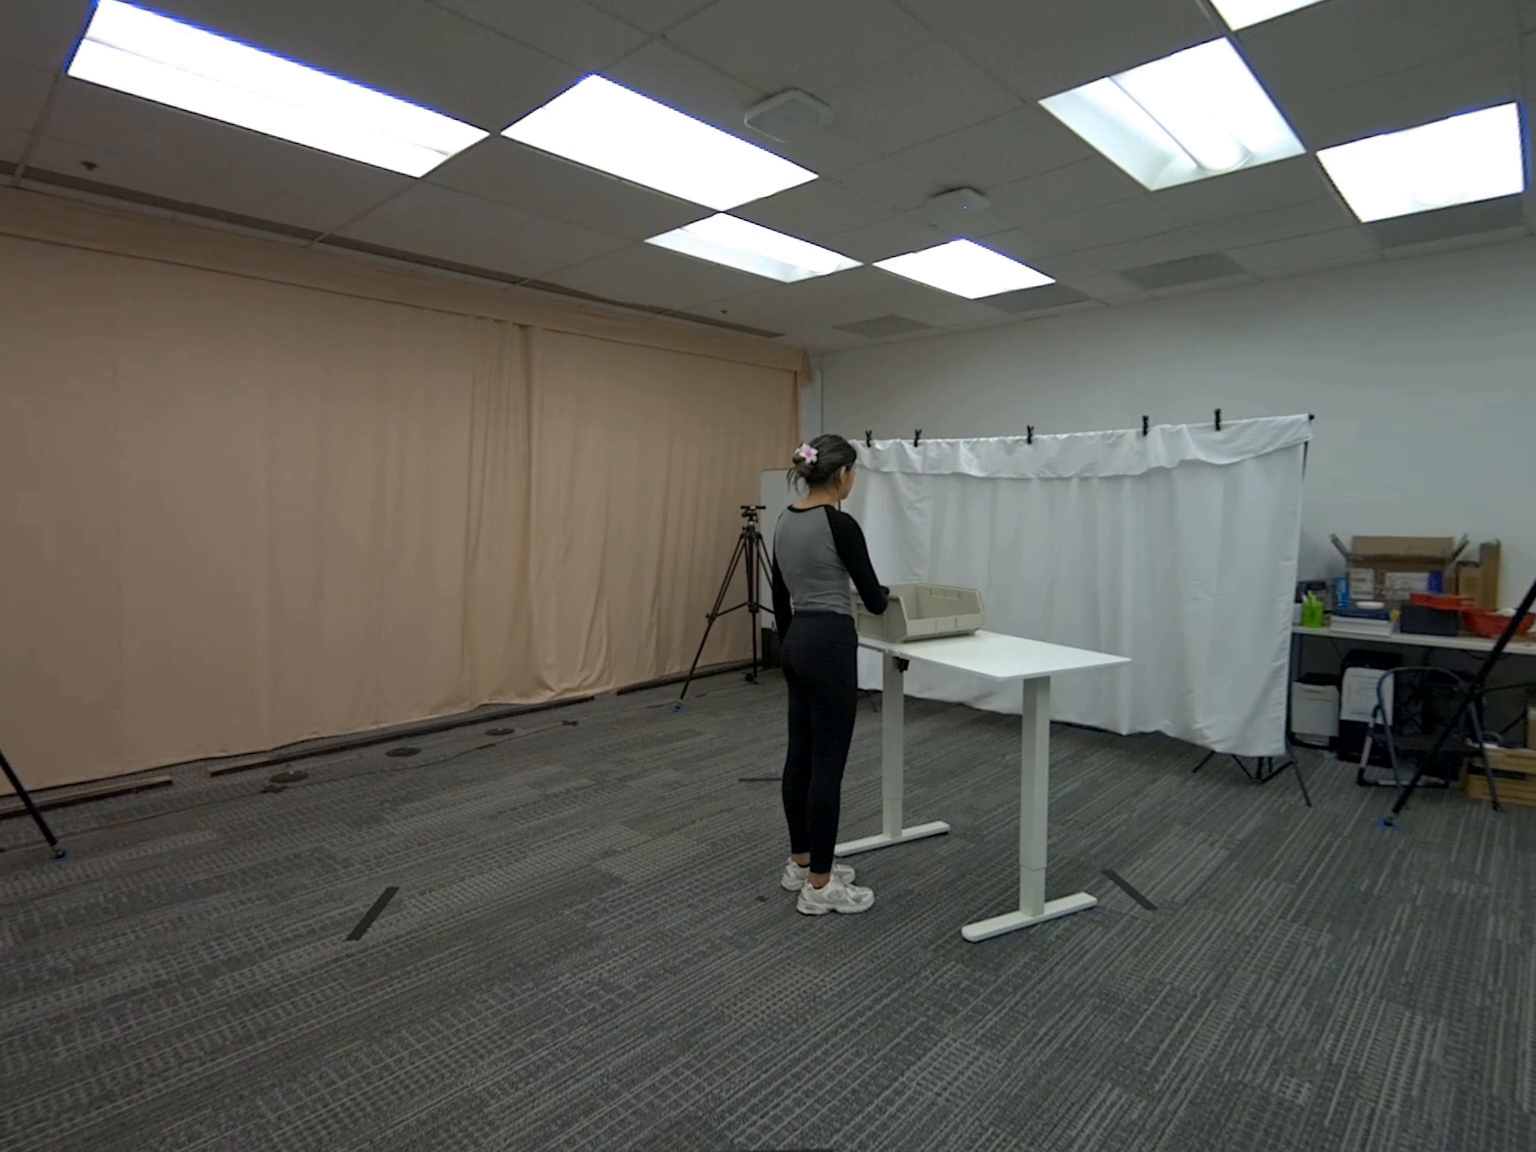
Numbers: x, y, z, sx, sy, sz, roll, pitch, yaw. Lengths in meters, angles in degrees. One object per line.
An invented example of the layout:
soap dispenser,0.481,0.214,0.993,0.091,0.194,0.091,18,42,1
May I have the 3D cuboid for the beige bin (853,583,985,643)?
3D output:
beige bin,0.569,0.144,3.304,0.411,0.188,0.389,-4,5,-32
